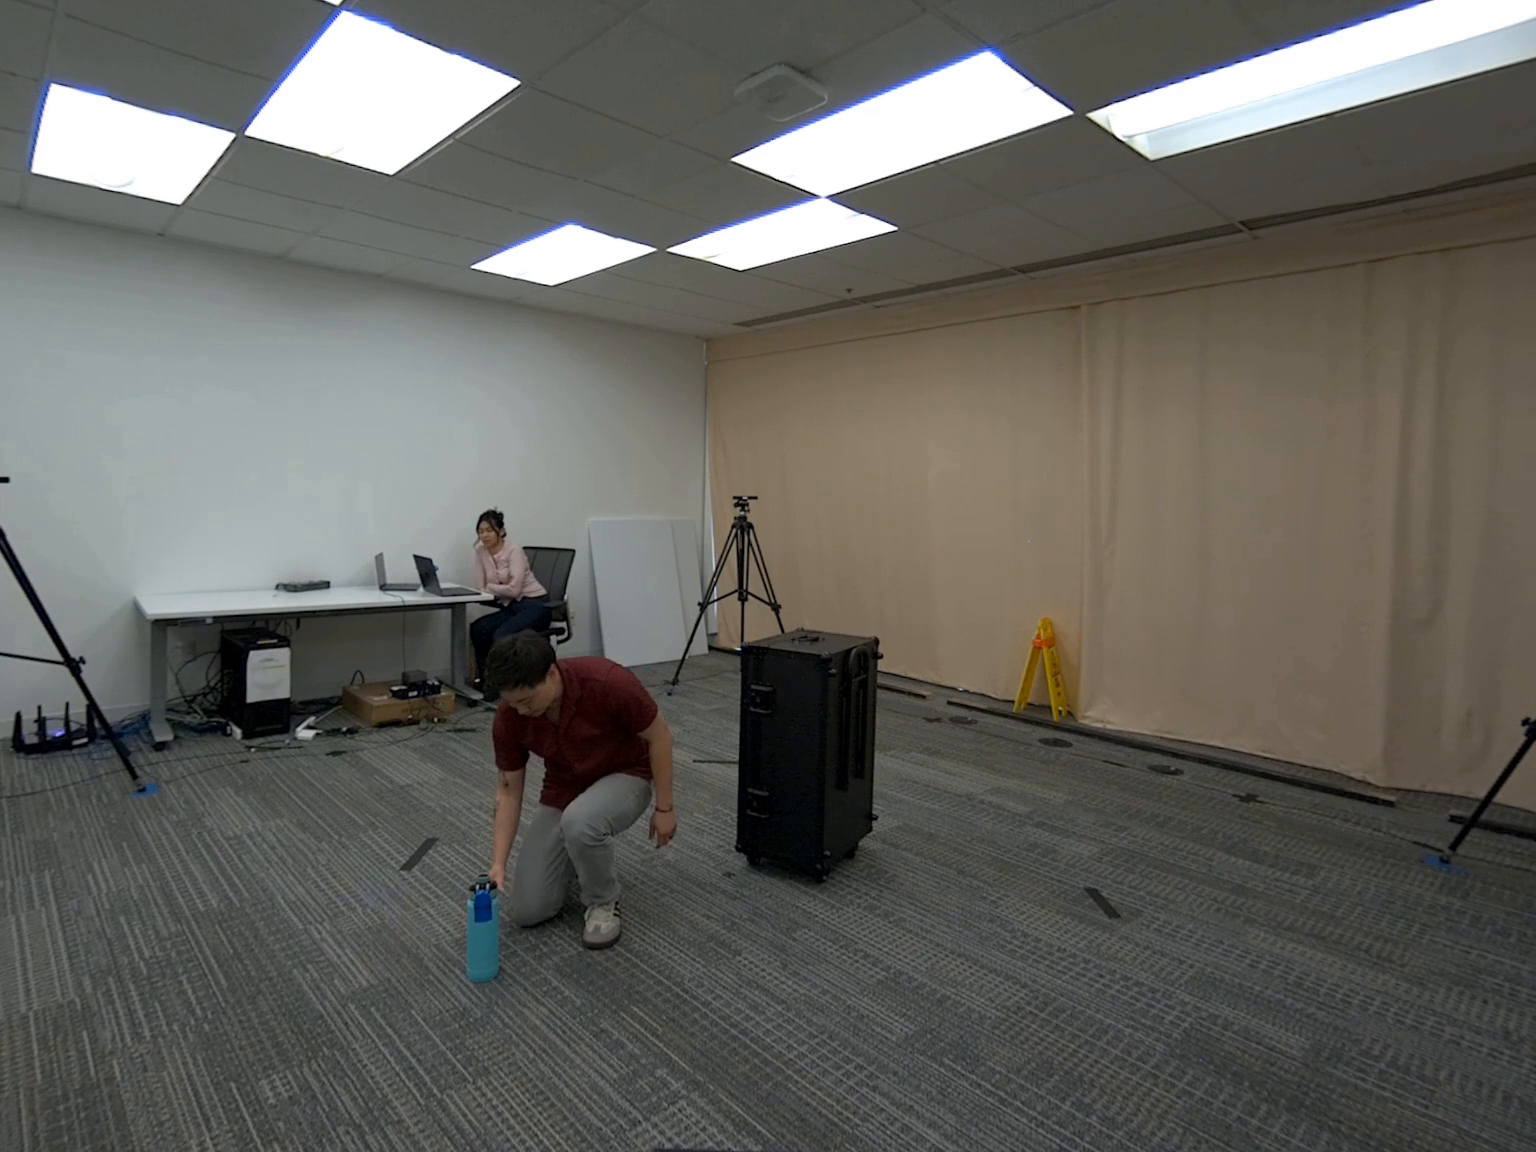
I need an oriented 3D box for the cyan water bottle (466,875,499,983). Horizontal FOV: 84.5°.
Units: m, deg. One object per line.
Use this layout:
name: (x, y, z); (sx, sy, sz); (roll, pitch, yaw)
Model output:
cyan water bottle: (-0.833, 1.014, 2.414); (0.092, 0.282, 0.093); (2, 5, -2)
